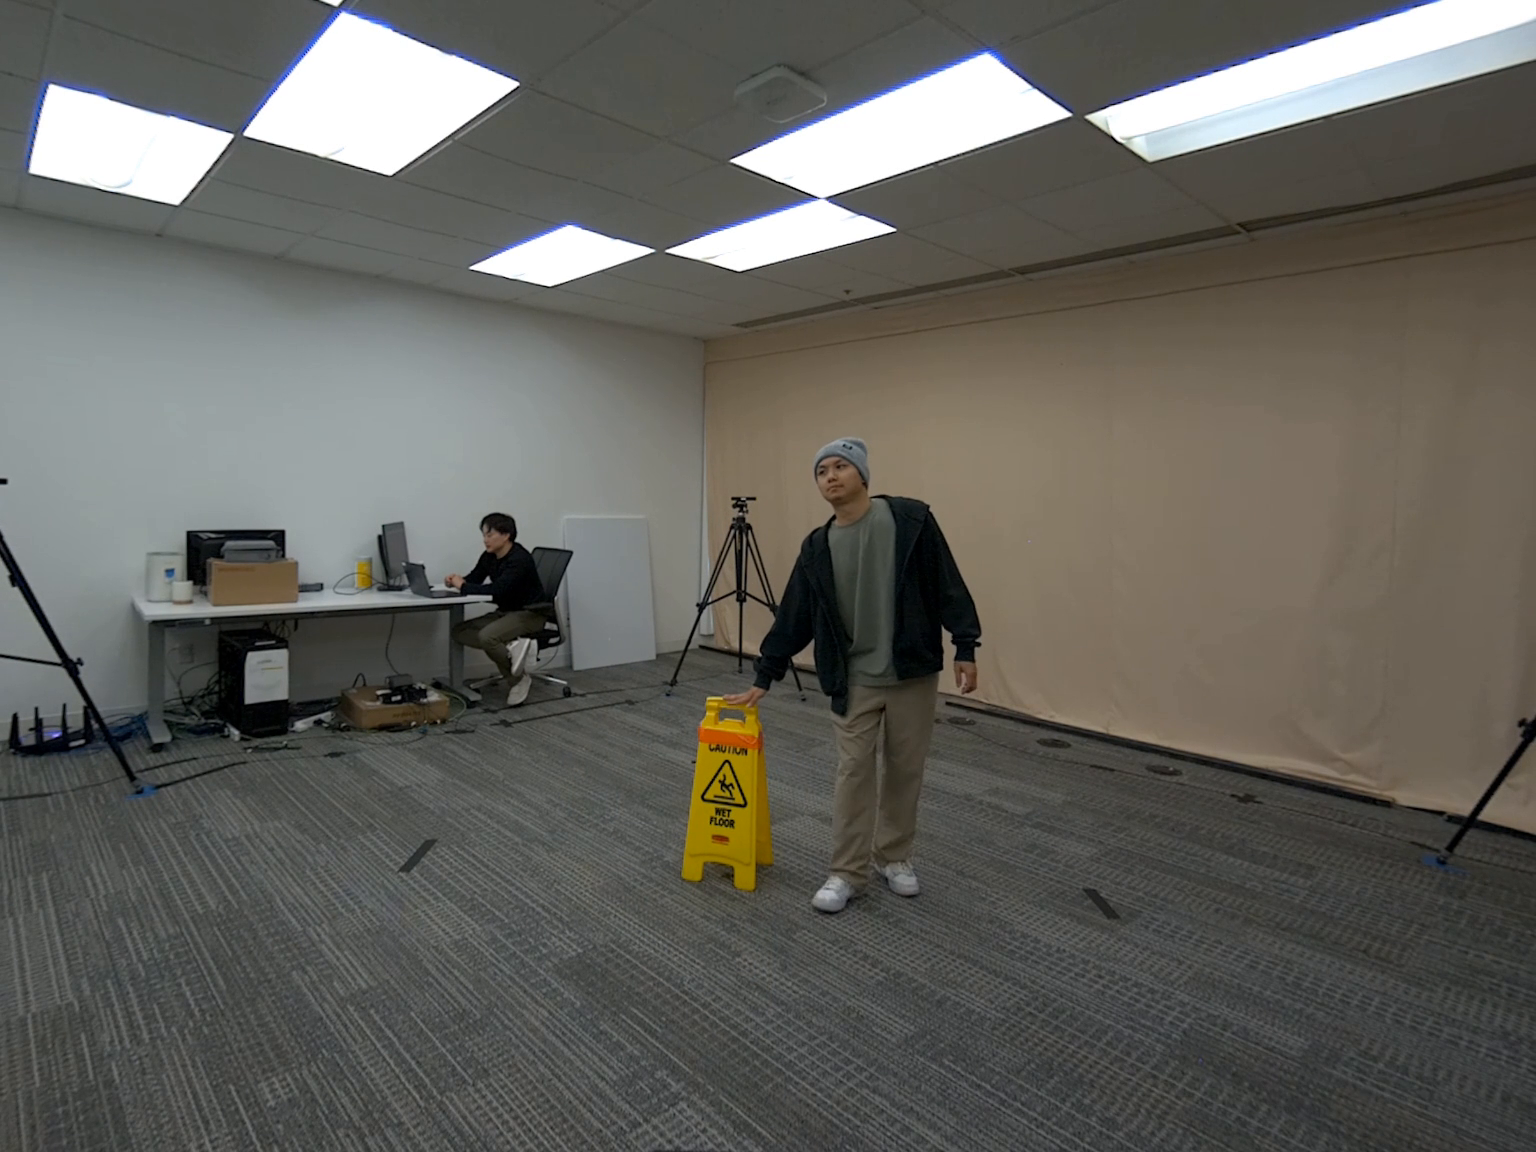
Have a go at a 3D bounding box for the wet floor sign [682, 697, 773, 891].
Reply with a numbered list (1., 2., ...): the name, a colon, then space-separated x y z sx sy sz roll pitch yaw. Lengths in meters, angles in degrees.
1. wet floor sign: -0.142 0.776 3.137 0.286 0.645 0.286 3 3 16
